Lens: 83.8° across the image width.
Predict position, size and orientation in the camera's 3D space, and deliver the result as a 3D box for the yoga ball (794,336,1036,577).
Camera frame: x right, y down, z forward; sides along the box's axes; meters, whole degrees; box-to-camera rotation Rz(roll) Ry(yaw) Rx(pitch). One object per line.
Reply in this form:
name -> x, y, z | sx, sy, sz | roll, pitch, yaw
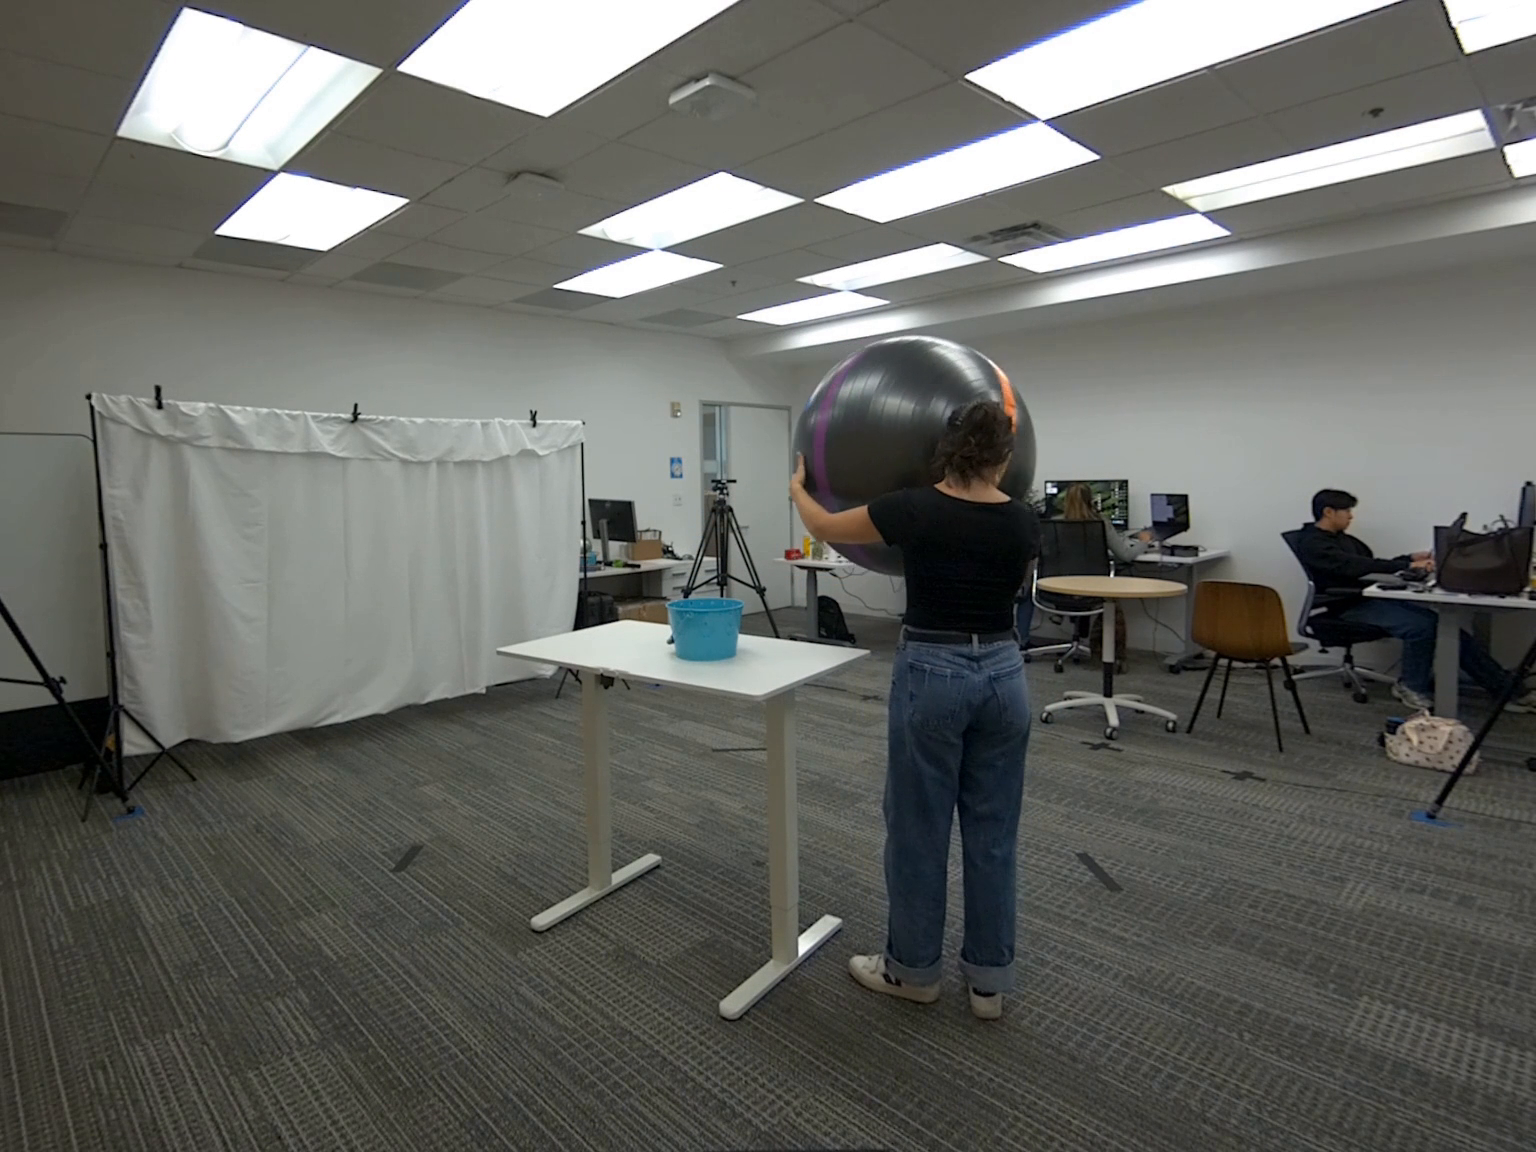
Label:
yoga ball -> 0.456, -0.371, 2.724 | 0.757, 0.755, 0.762 | -1, 5, -2
